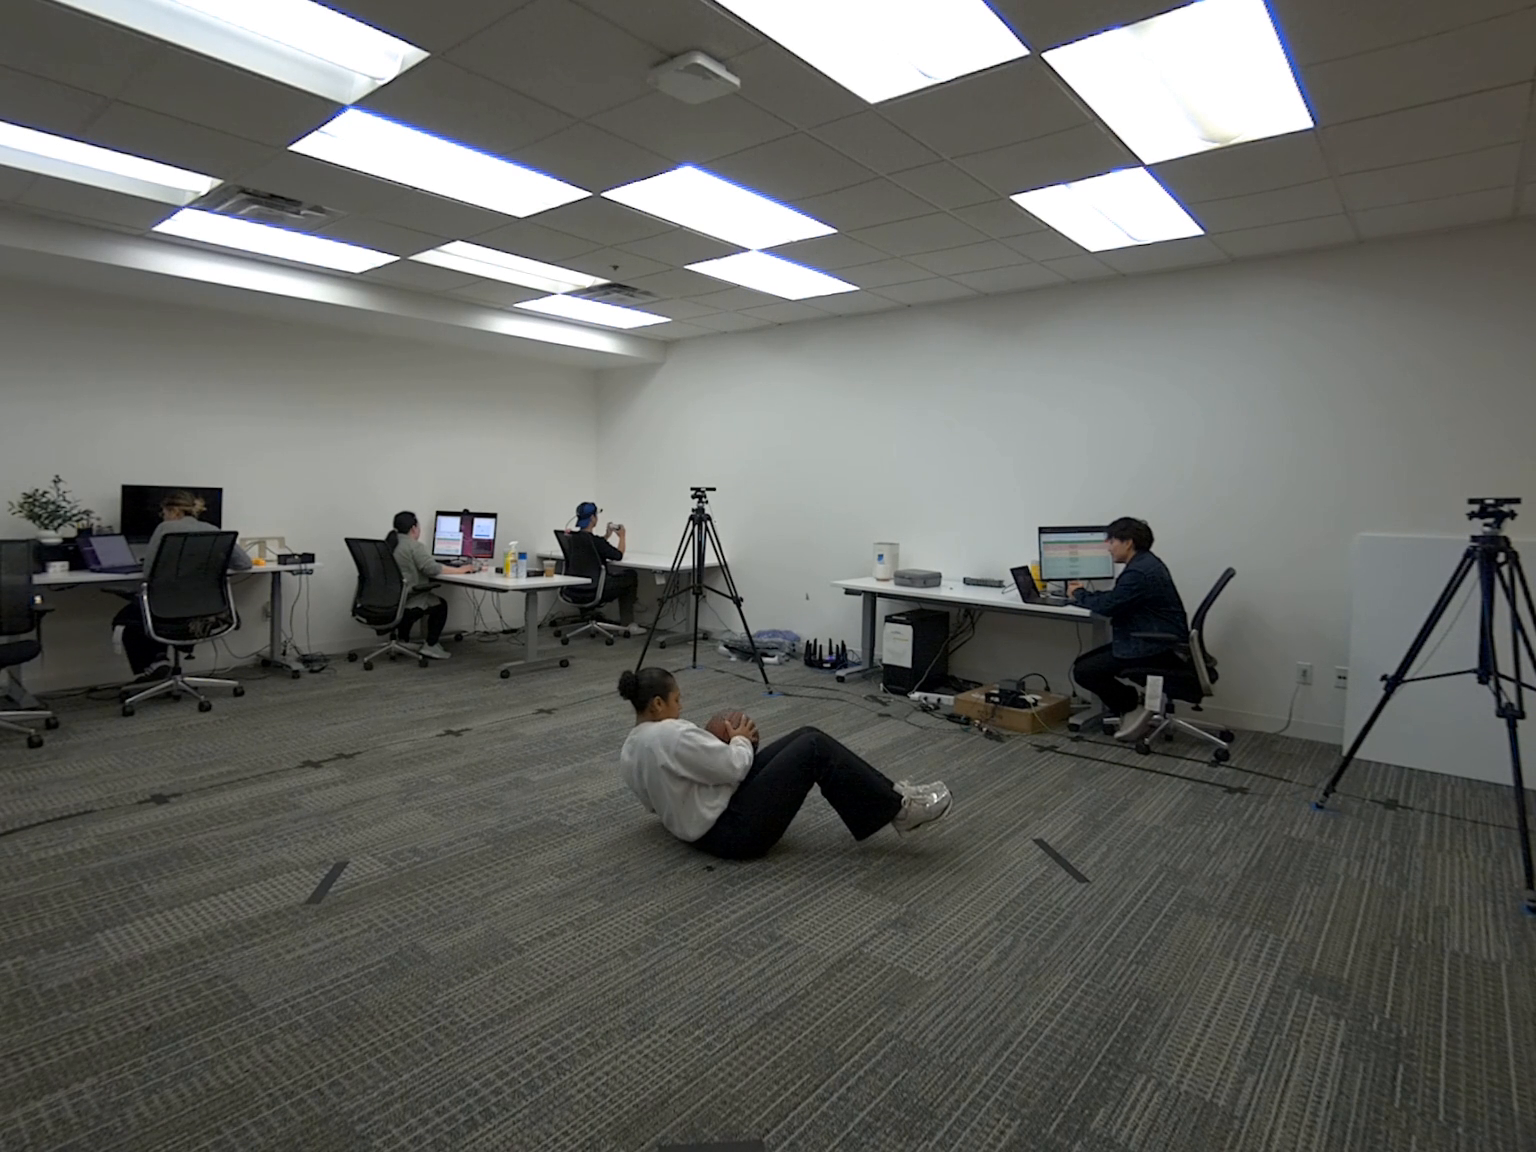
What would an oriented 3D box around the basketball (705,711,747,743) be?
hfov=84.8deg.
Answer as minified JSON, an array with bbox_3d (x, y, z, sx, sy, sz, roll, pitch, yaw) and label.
[{"bbox_3d":[-0.174,0.691,3.543,0.235,0.235,0.237,1,4,-2],"label":"basketball"}]
